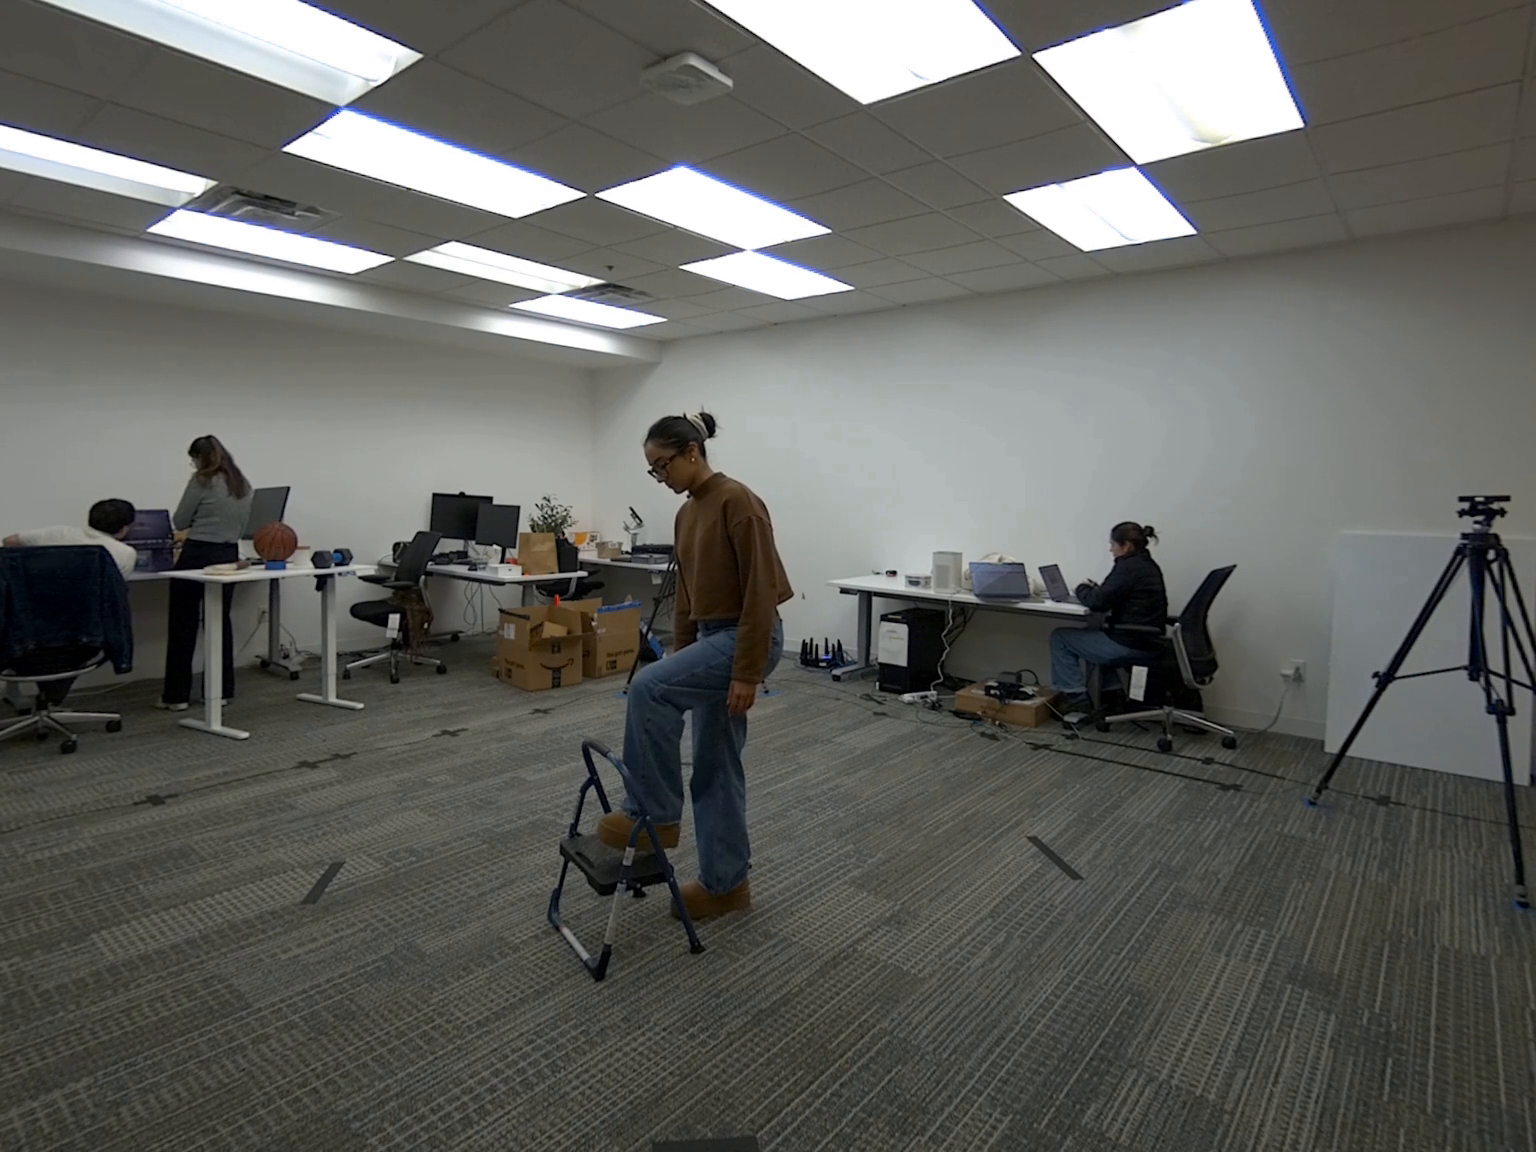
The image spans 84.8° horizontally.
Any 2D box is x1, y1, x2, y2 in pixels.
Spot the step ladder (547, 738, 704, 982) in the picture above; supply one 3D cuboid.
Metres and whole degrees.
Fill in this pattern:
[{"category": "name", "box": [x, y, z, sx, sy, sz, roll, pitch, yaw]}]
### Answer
[{"category": "step ladder", "box": [-0.458, 0.806, 2.623, 0.339, 0.604, 0.444, -1, 5, -34]}]
